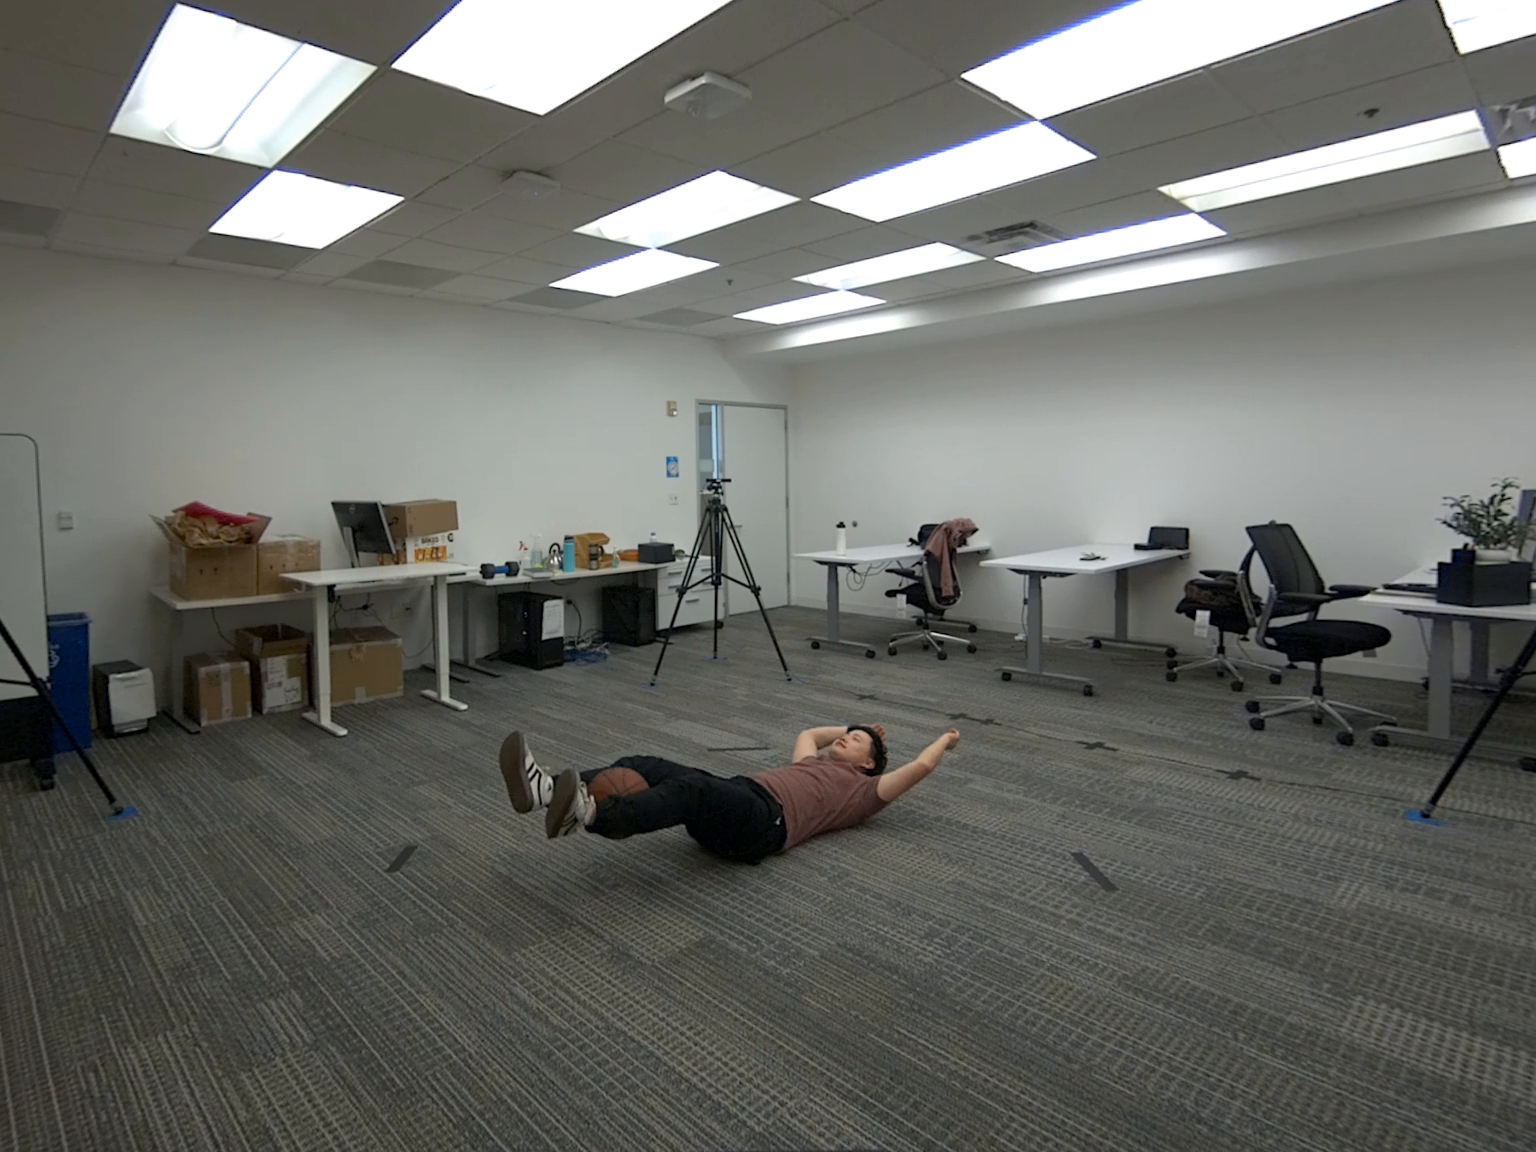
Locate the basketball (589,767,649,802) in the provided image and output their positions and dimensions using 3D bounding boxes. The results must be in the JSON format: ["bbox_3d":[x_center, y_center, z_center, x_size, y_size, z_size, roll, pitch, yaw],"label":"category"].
[{"bbox_3d":[-0.519,0.775,2.915,0.236,0.235,0.237,-2,5,-2],"label":"basketball"}]
